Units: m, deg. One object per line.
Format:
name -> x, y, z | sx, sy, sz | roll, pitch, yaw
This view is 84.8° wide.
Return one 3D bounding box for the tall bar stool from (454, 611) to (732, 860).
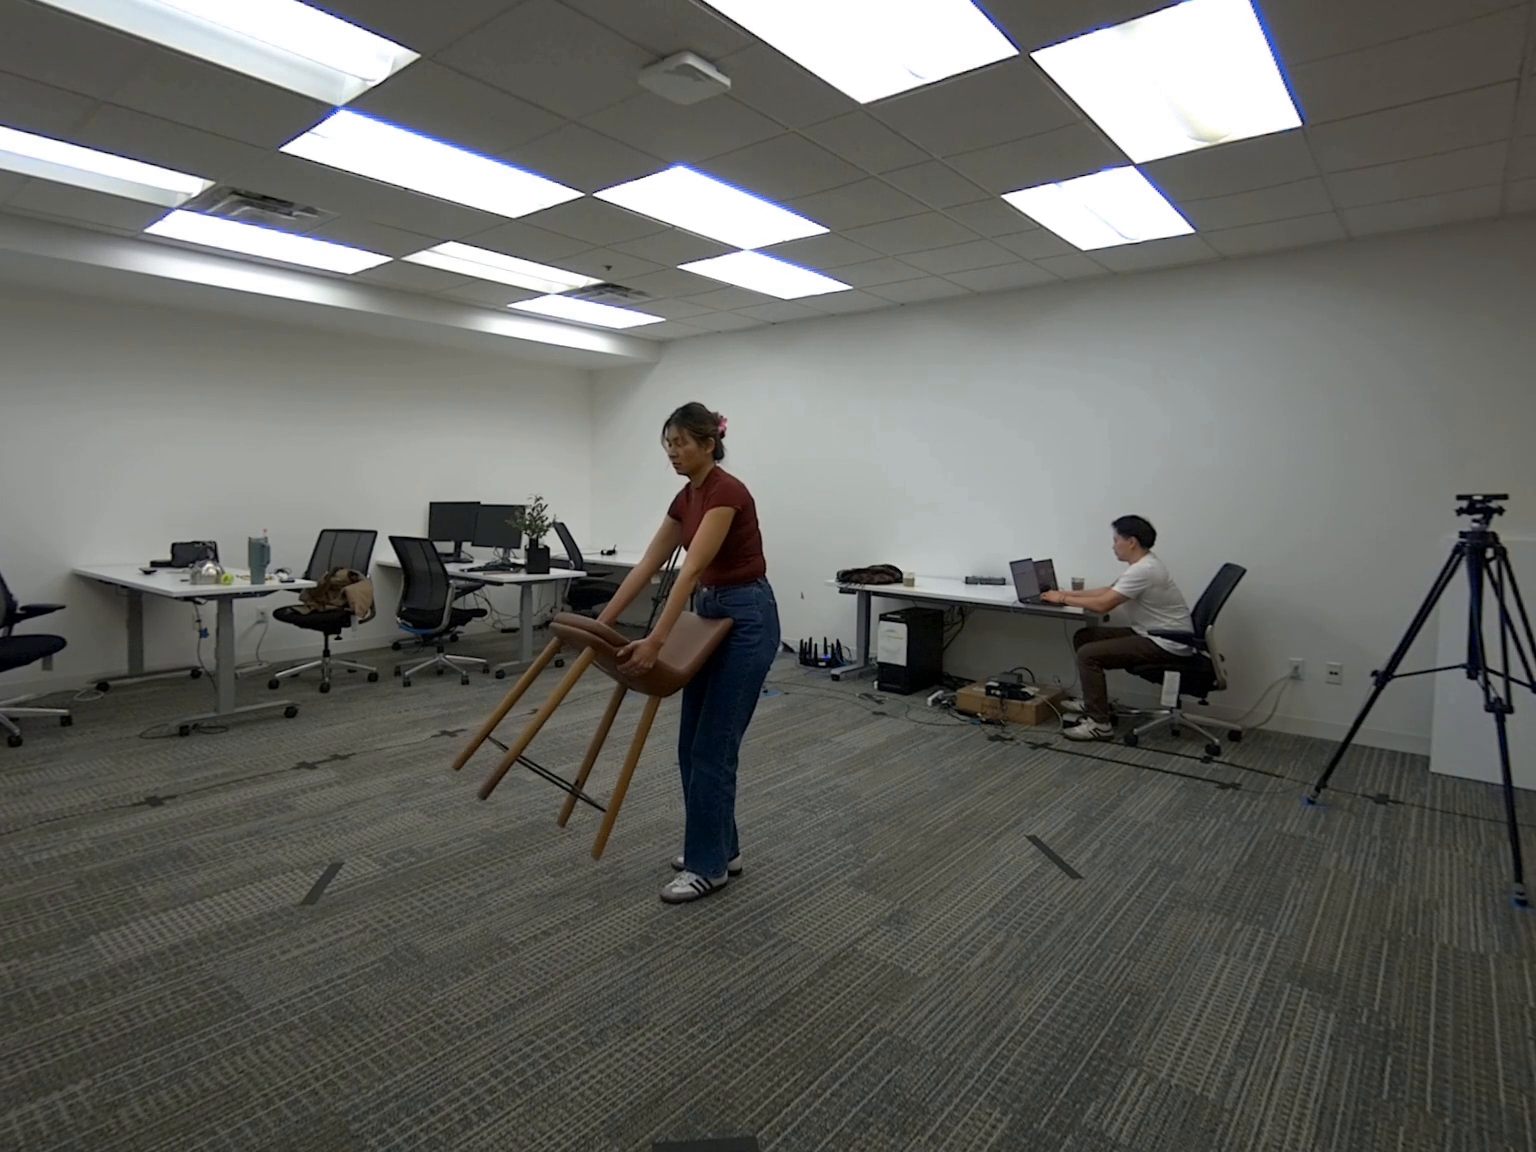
tall bar stool -> -0.574, 0.392, 2.804 | 0.453, 0.893, 0.469 | 38, -17, -24
